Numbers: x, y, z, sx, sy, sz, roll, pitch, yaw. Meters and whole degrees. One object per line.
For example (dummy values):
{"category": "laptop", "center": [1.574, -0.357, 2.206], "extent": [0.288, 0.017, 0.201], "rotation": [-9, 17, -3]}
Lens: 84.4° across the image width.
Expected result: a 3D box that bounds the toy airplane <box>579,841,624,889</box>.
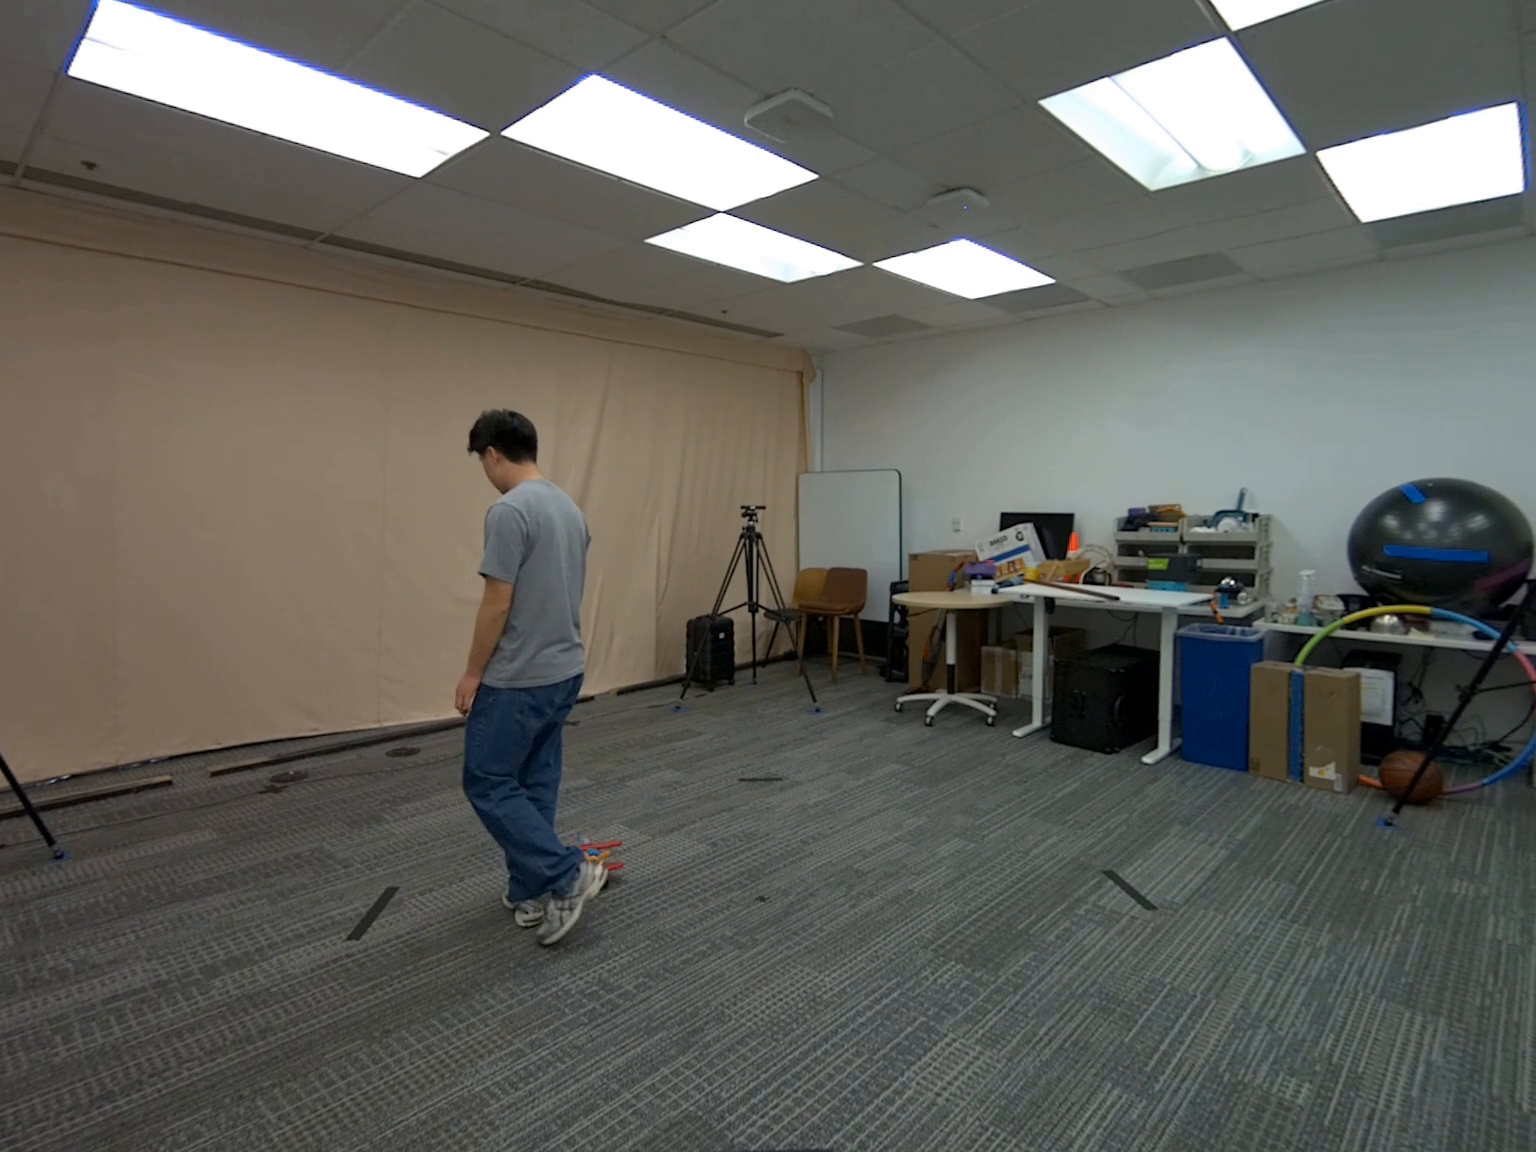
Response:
{"category": "toy airplane", "center": [-0.697, 1.065, 3.130], "extent": [0.268, 0.156, 0.243], "rotation": [4, 6, 40]}
